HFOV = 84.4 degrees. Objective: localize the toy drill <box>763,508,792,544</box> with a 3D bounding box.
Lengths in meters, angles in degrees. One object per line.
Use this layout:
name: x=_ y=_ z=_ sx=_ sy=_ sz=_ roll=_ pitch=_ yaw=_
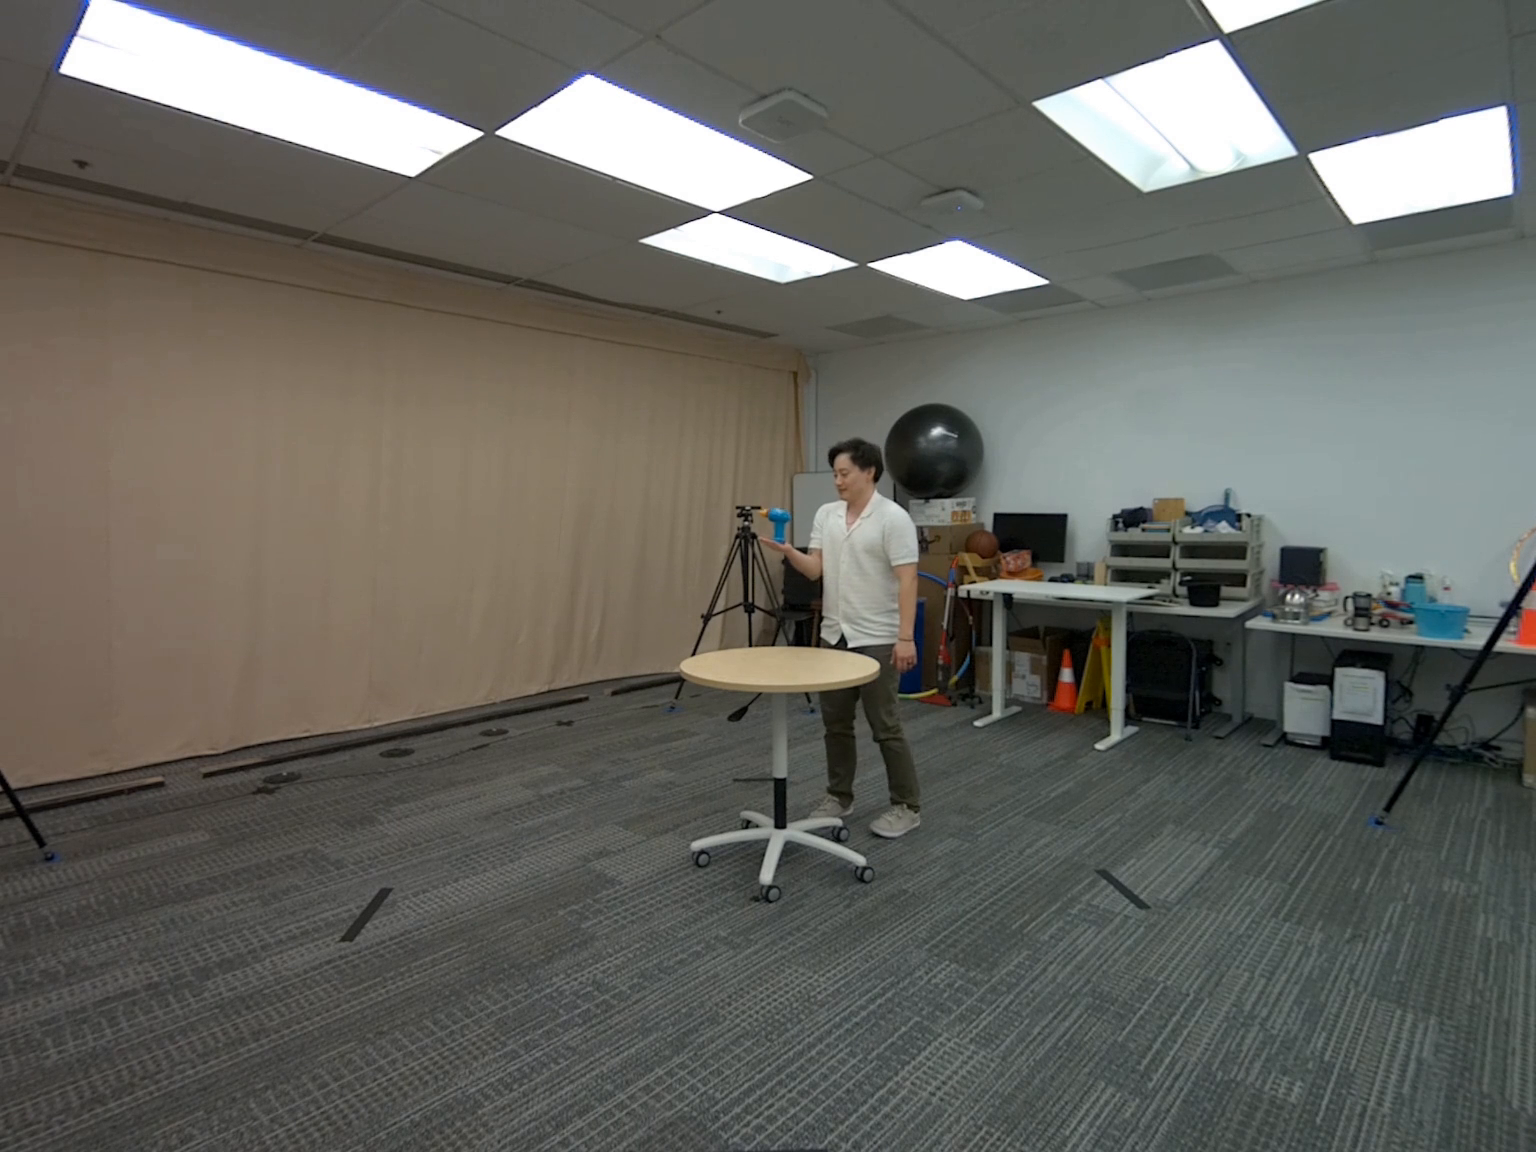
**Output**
toy drill: x=0.028 y=-0.218 z=3.566 sx=0.176 sy=0.145 sz=0.059 roll=16 pitch=11 yaw=38
